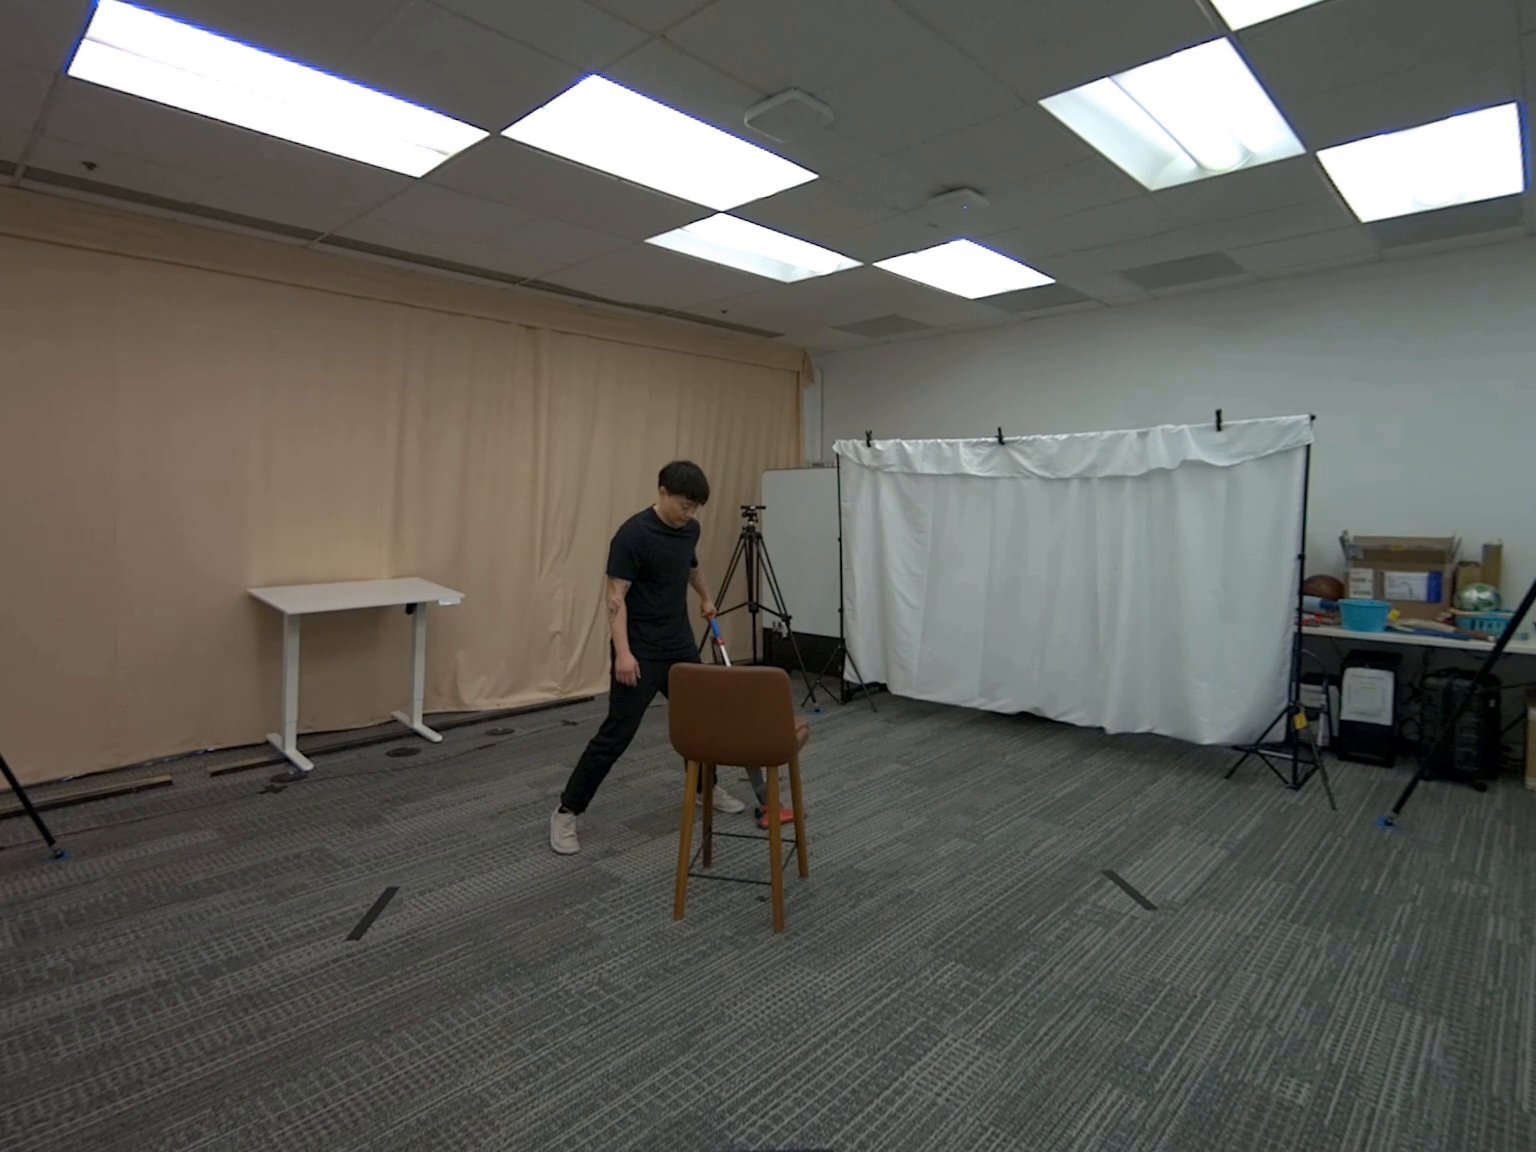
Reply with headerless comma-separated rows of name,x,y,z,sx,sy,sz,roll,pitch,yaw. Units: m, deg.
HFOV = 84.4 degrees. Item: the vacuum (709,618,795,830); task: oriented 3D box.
vacuum,-0.146,0.610,3.948,0.244,1.071,0.146,2,-32,-45
